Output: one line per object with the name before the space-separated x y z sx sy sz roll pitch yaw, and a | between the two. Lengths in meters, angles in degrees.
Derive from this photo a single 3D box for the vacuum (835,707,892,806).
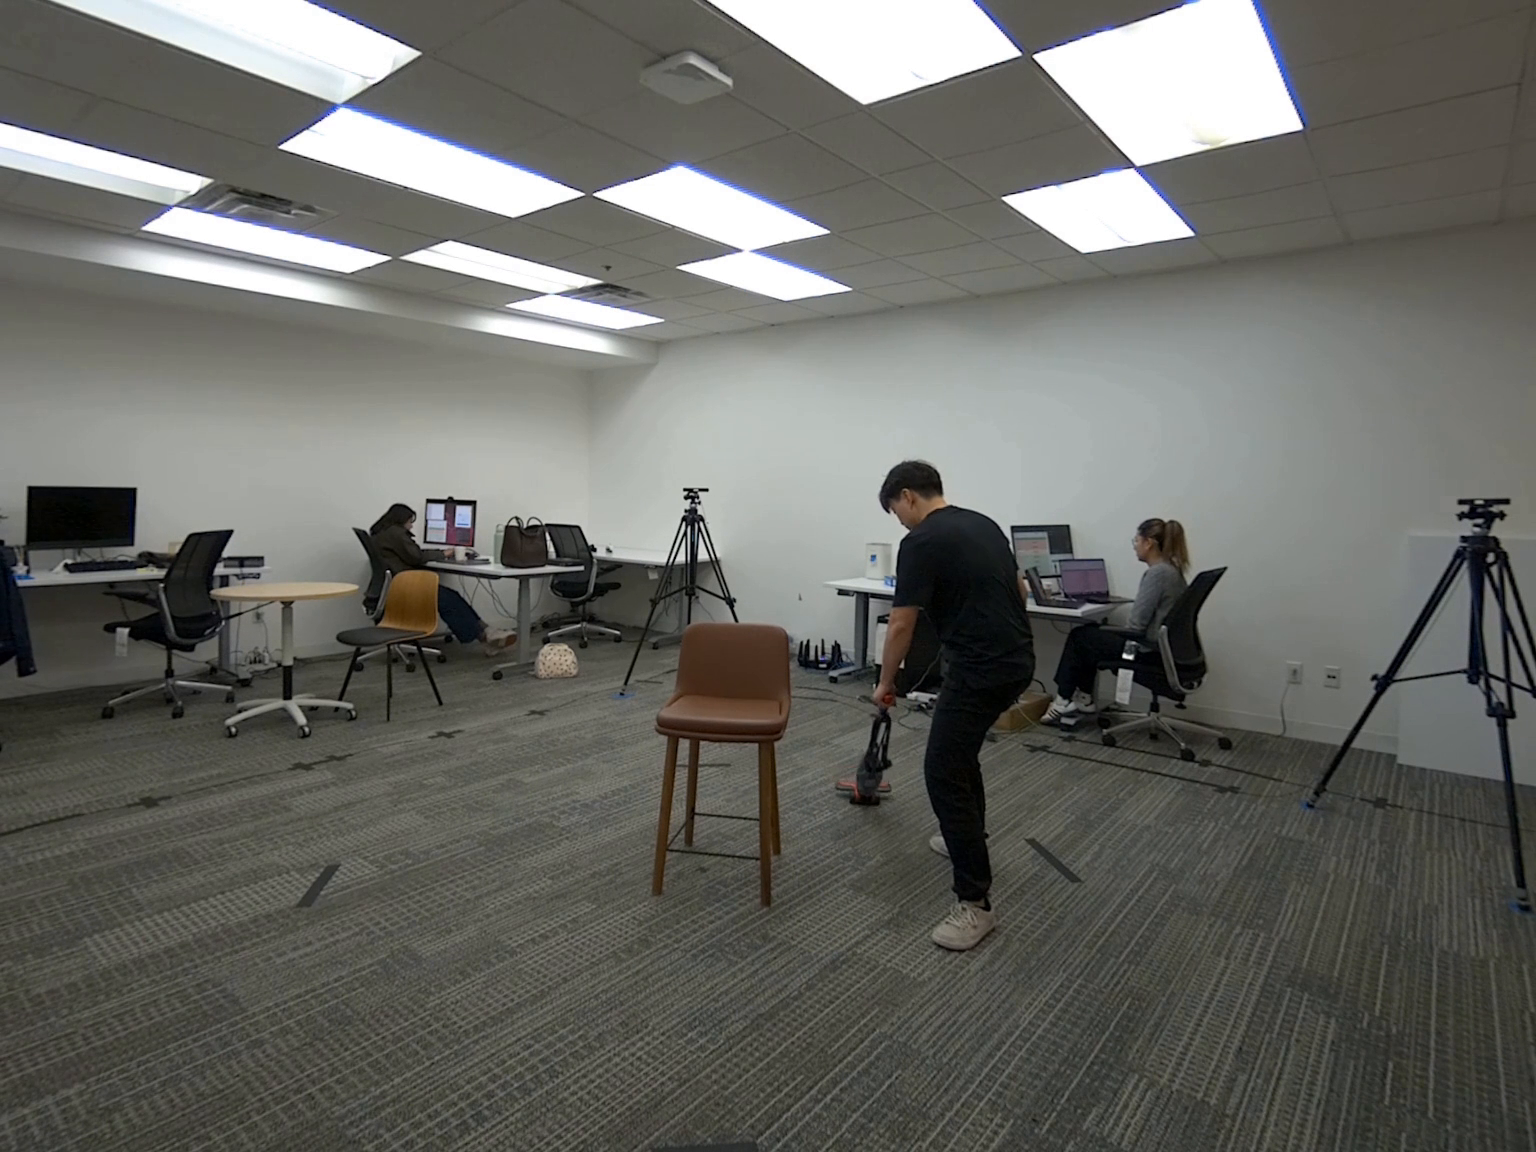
vacuum | 0.412 0.717 3.428 0.253 0.148 1.018 -1 -32 2
